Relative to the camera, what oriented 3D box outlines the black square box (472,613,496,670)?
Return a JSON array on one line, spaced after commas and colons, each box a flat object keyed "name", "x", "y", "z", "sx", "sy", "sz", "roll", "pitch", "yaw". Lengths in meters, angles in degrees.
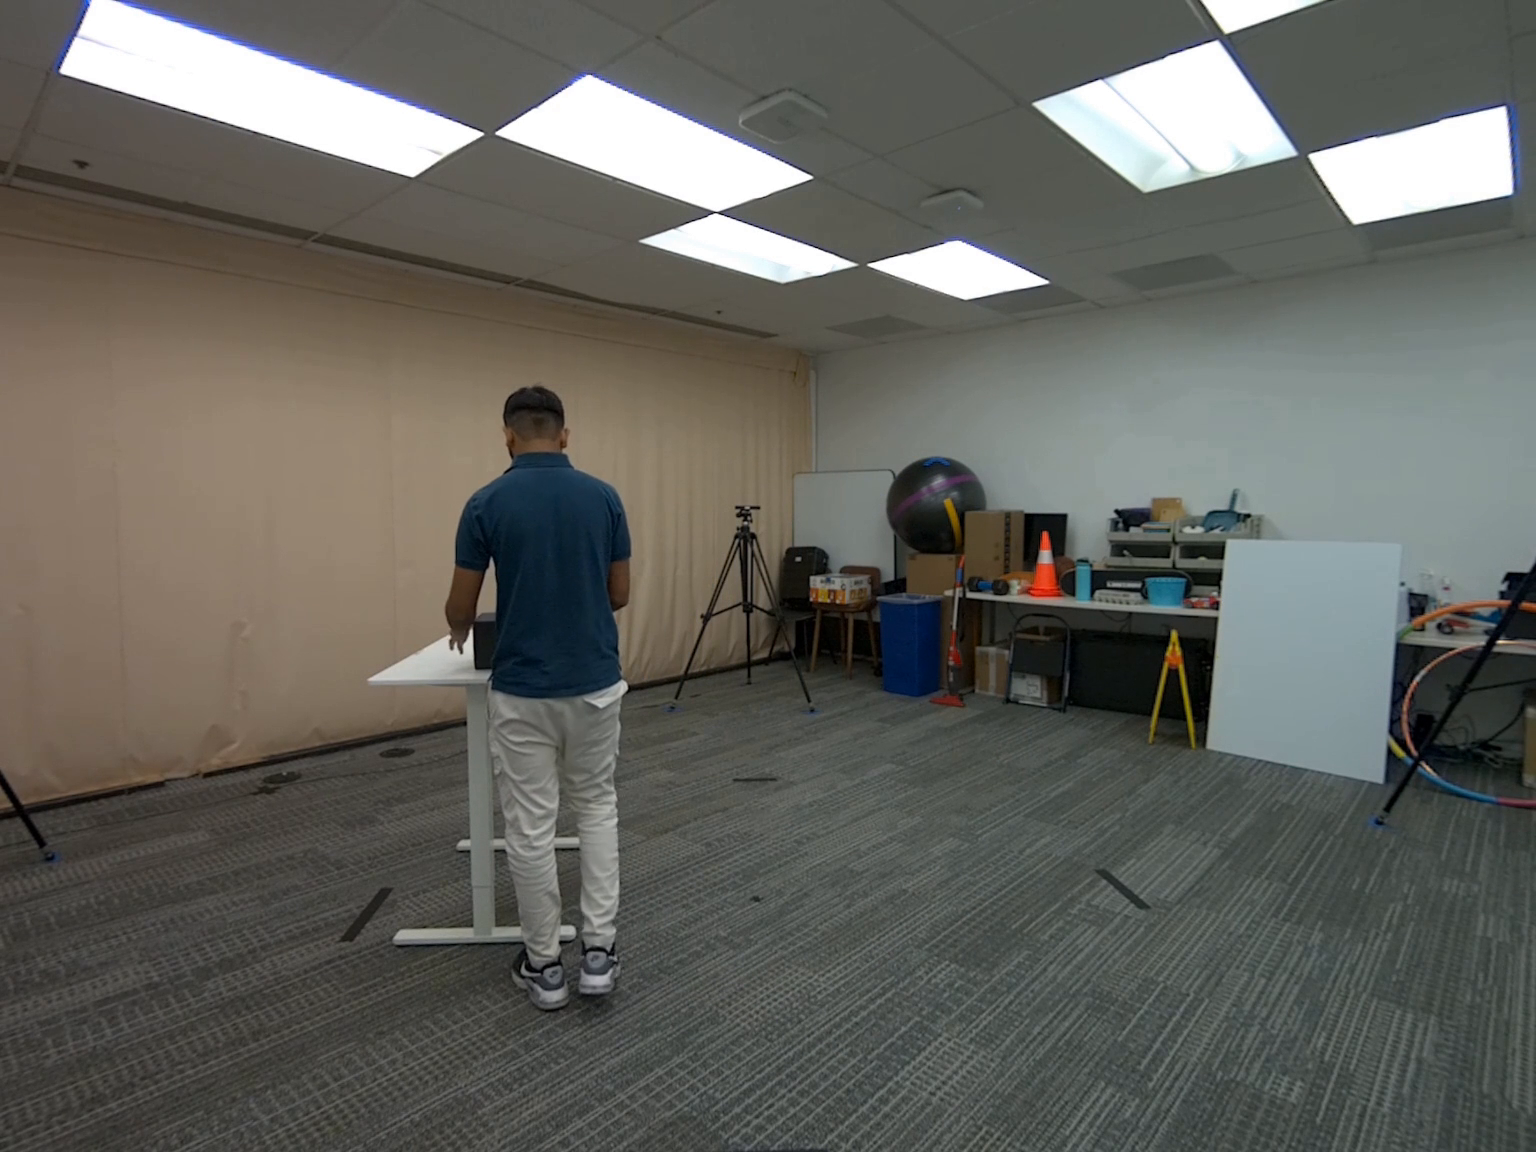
[{"name": "black square box", "x": -0.840, "y": 0.207, "z": 2.794, "sx": 0.227, "sy": 0.155, "sz": 0.218, "roll": -3, "pitch": 5, "yaw": -4}]
